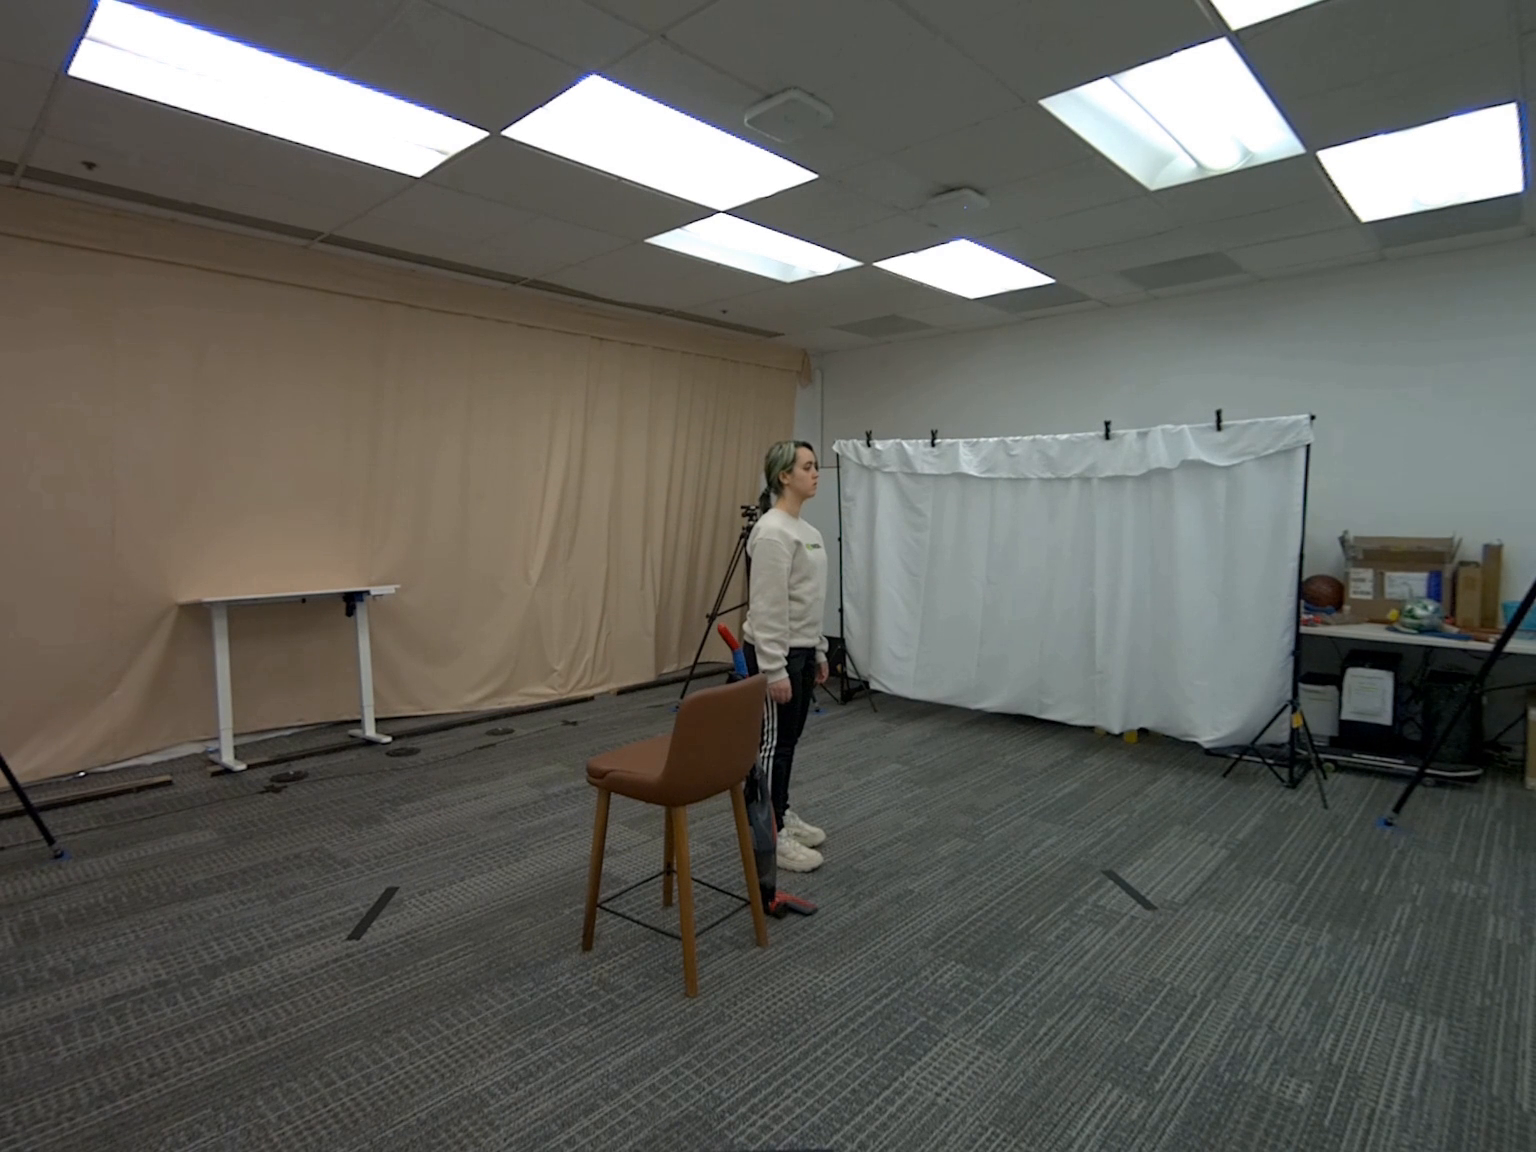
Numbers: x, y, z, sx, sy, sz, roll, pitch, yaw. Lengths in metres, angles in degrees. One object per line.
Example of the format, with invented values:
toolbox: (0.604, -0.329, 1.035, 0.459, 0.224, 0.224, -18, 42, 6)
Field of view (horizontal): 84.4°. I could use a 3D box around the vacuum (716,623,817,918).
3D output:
vacuum: (-0.062, 0.655, 2.800, 0.141, 1.038, 0.261, -19, 15, -33)
